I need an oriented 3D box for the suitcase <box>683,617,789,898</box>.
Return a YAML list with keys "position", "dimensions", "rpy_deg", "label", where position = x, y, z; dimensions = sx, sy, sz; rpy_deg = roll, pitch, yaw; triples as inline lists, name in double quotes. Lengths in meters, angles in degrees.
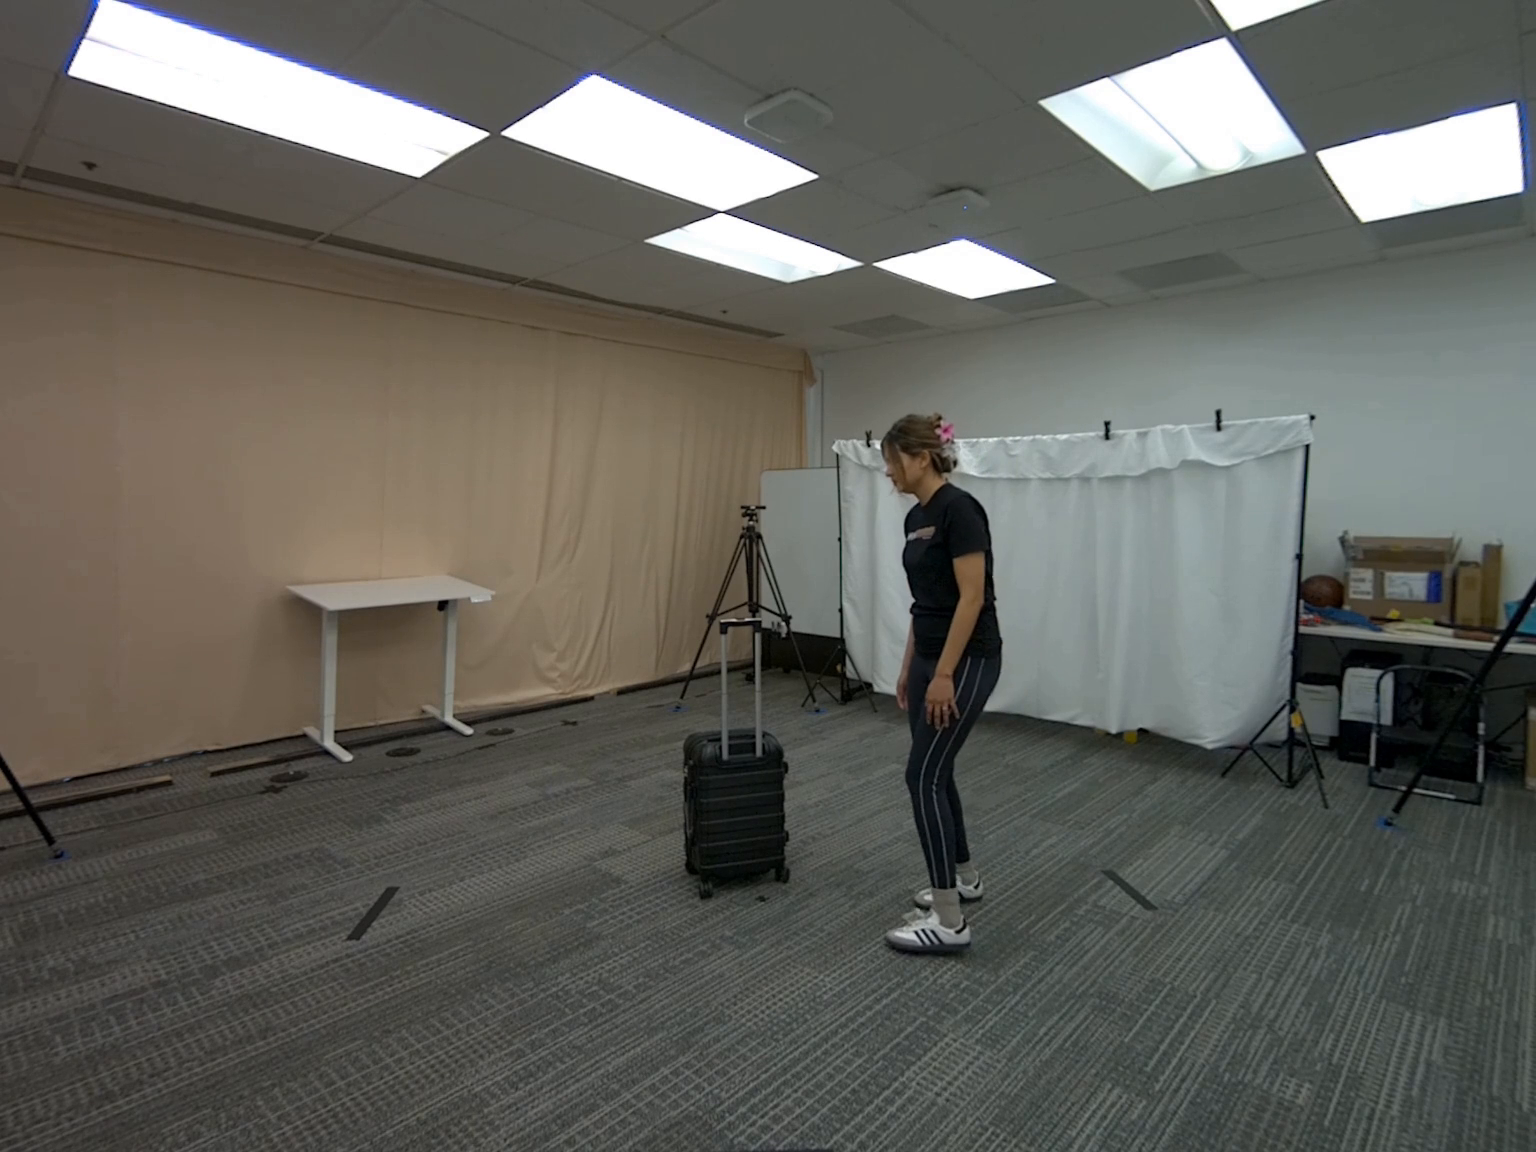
- position: [-0.131, 0.652, 3.147]
  dimensions: [0.378, 0.978, 0.261]
  rpy_deg: [-1, 1, -15]
  label: "suitcase"
